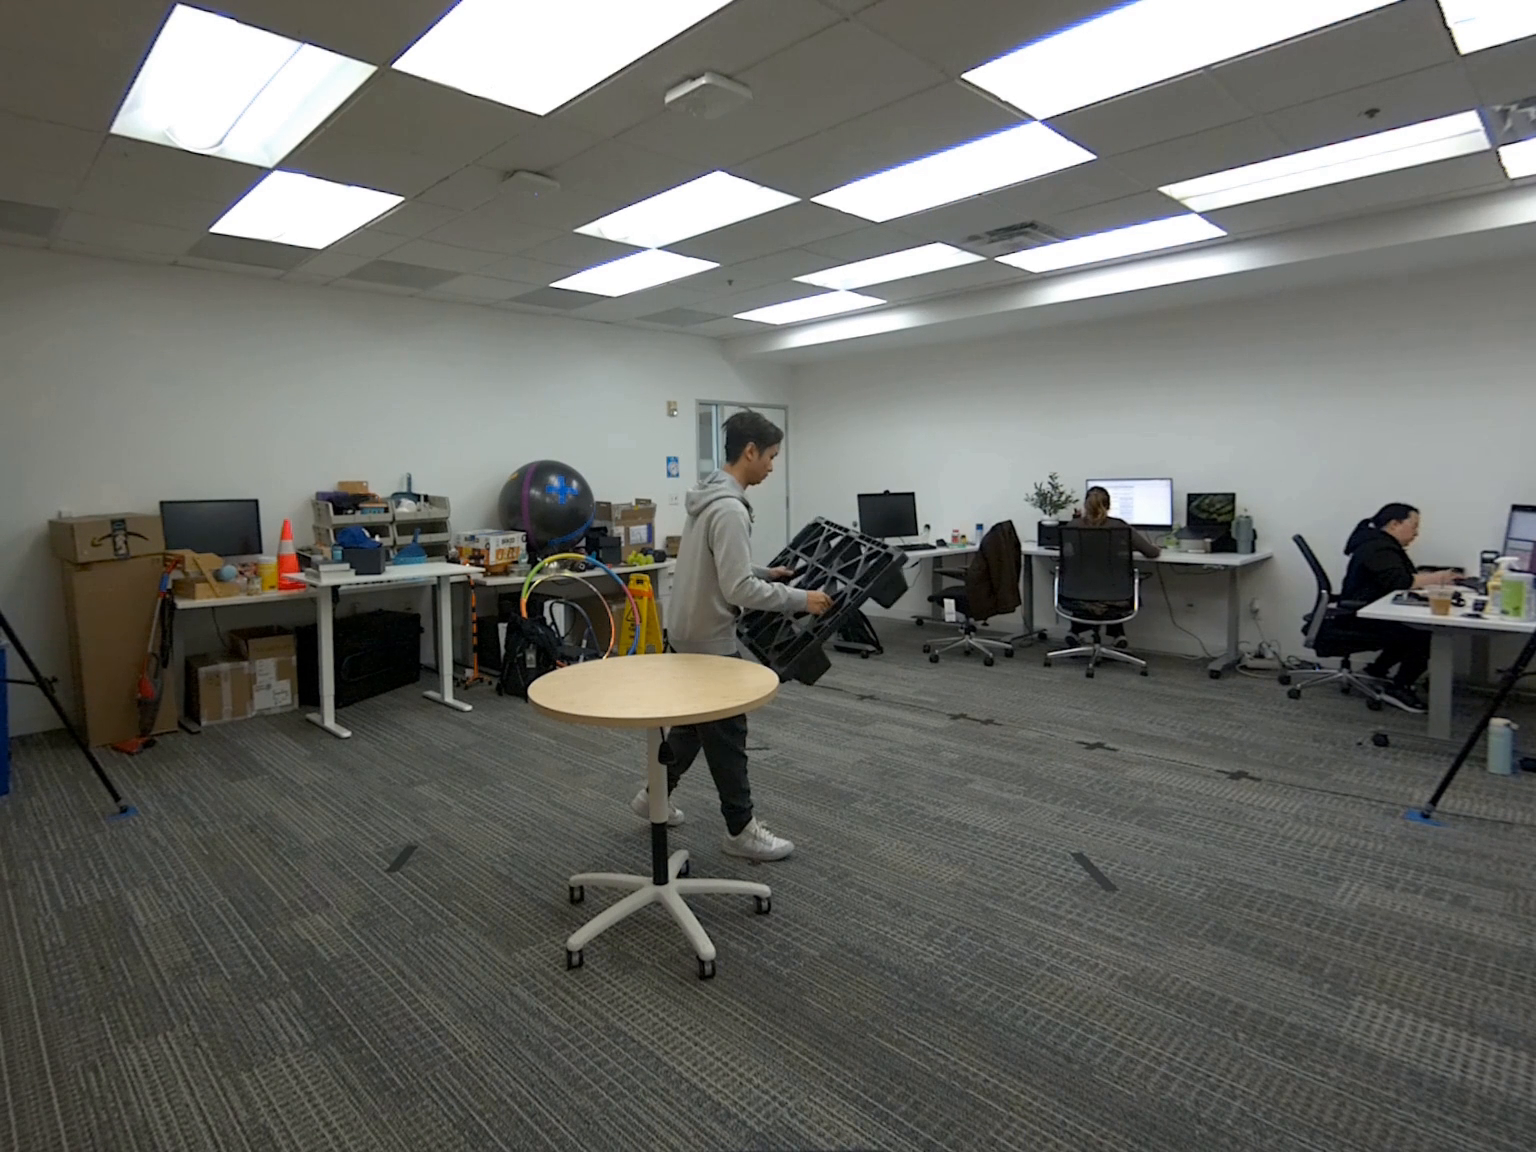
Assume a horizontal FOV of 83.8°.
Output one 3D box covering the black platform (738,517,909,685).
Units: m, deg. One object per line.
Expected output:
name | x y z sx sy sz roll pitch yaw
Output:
black platform | 0.152 0.083 3.202 0.605 0.140 0.826 -45 21 -4
